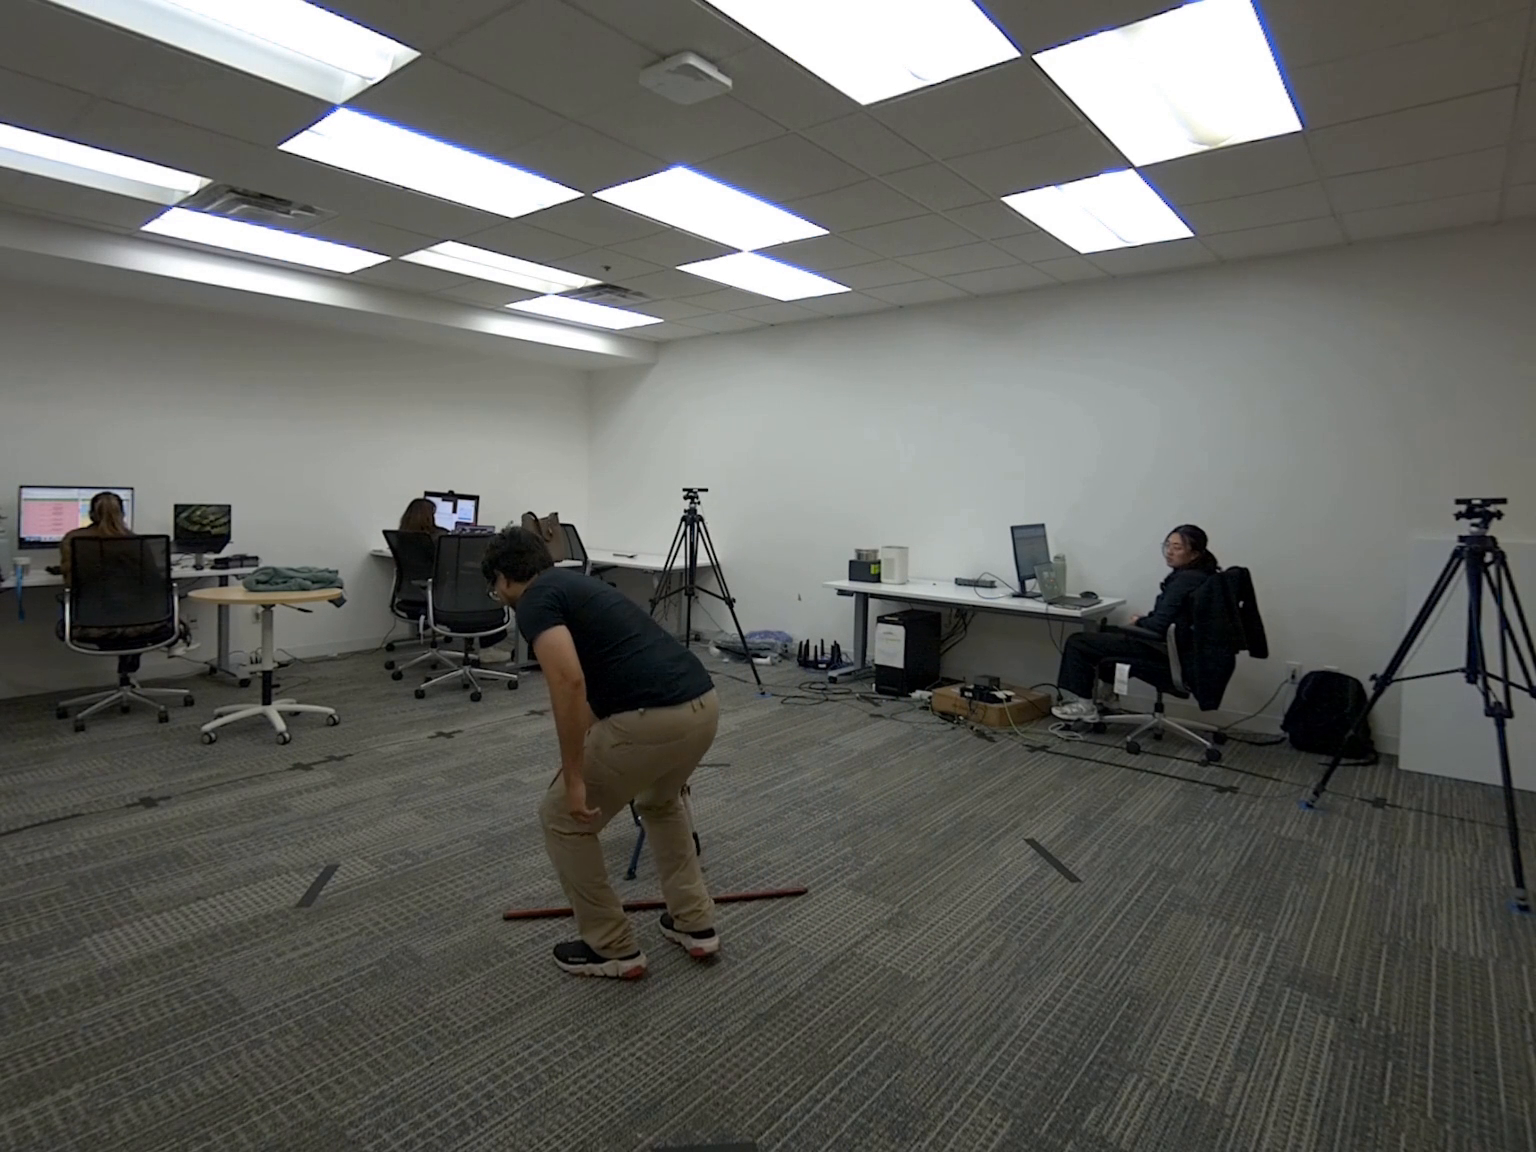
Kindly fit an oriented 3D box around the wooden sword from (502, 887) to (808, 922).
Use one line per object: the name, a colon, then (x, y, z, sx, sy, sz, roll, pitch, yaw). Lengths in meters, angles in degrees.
wooden sword: (-0.356, 1.073, 2.828, 1.011, 0.024, 0.052, 0, 12, -12)
